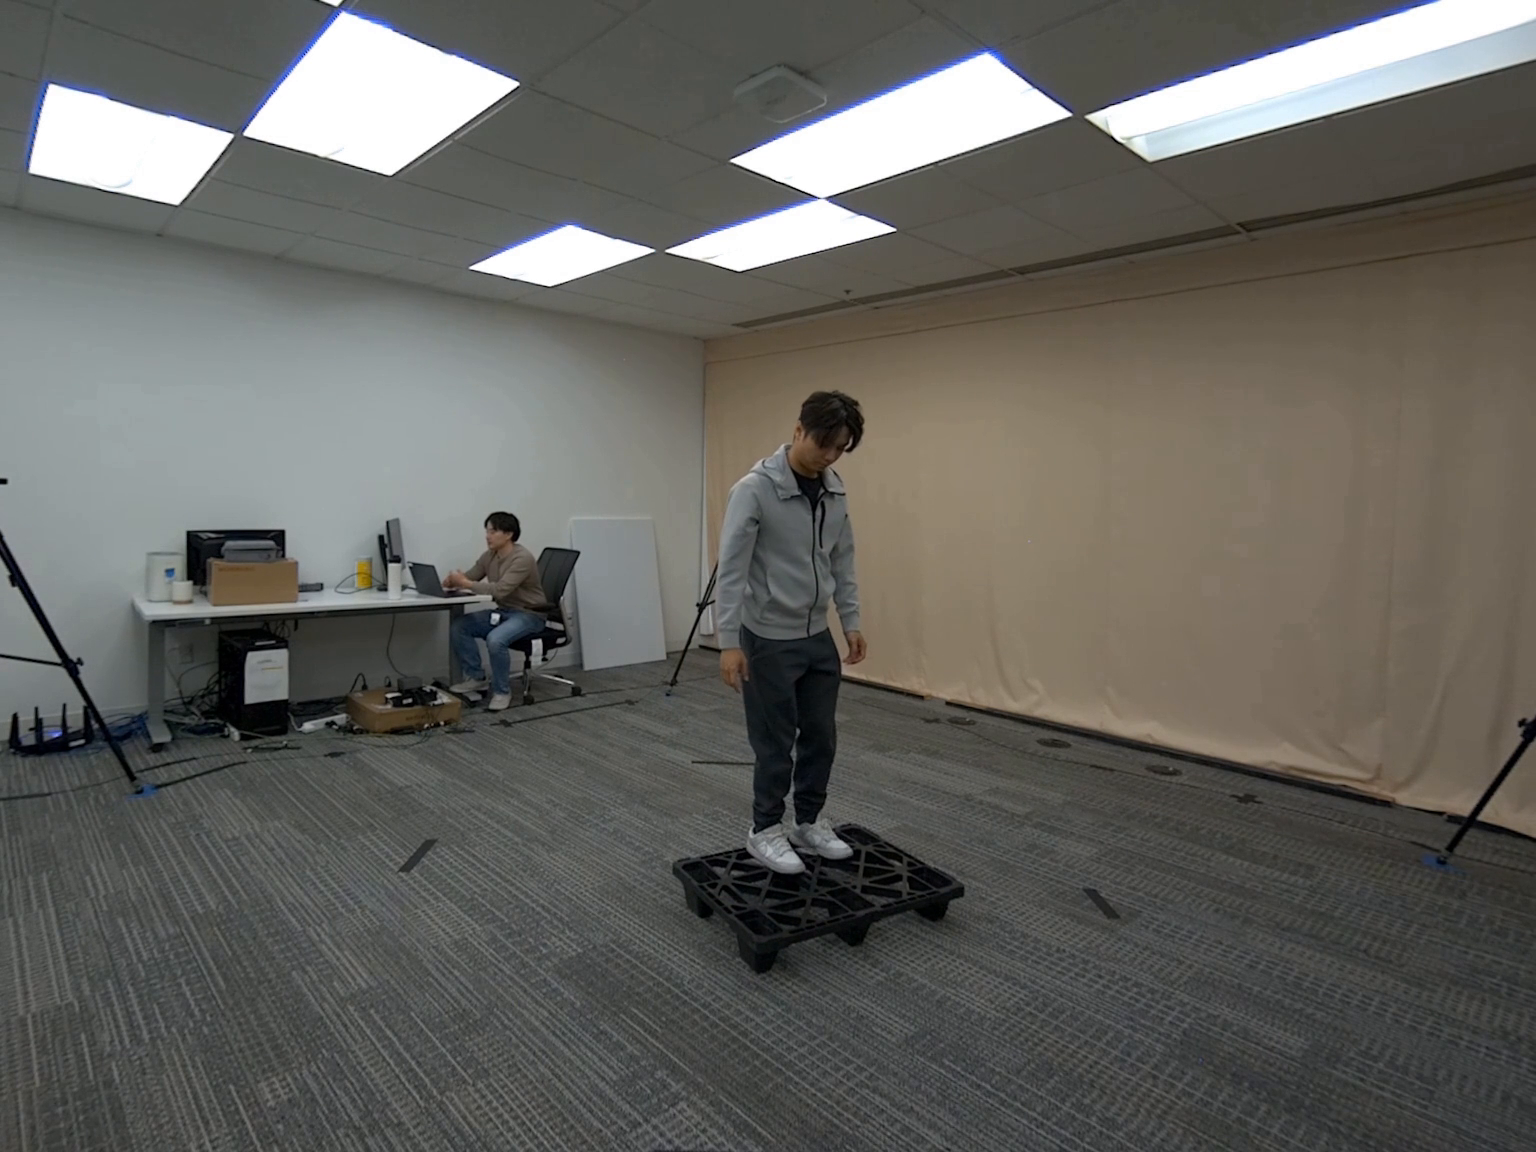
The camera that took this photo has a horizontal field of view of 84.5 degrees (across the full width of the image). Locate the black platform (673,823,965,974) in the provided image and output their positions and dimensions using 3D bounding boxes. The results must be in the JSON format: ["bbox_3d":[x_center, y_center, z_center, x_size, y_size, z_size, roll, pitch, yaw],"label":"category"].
[{"bbox_3d":[0.144,1.071,2.844,0.789,0.143,0.619,-2,5,-30],"label":"black platform"}]
